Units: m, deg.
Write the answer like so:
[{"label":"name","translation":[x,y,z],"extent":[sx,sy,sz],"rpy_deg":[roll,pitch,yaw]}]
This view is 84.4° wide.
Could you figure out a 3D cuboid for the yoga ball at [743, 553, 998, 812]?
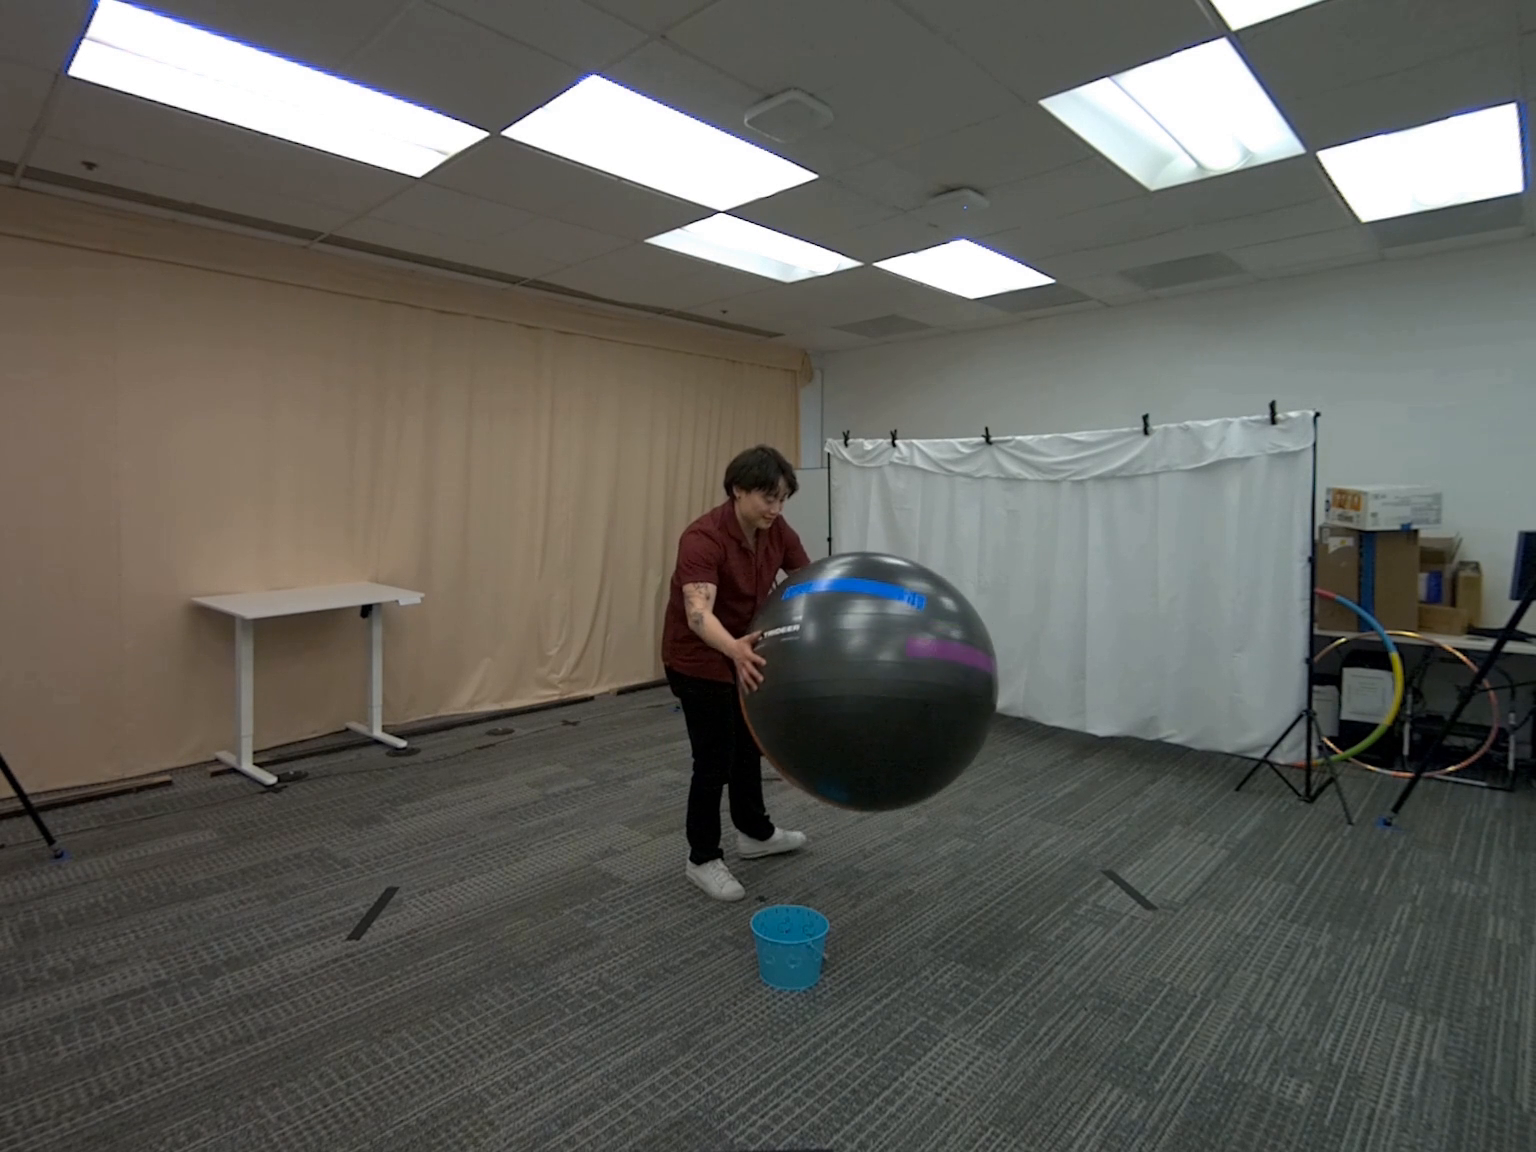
[{"label":"yoga ball","translation":[0.295,0.313,2.526],"extent":[0.757,0.756,0.760],"rpy_deg":[0,4,-2]}]
